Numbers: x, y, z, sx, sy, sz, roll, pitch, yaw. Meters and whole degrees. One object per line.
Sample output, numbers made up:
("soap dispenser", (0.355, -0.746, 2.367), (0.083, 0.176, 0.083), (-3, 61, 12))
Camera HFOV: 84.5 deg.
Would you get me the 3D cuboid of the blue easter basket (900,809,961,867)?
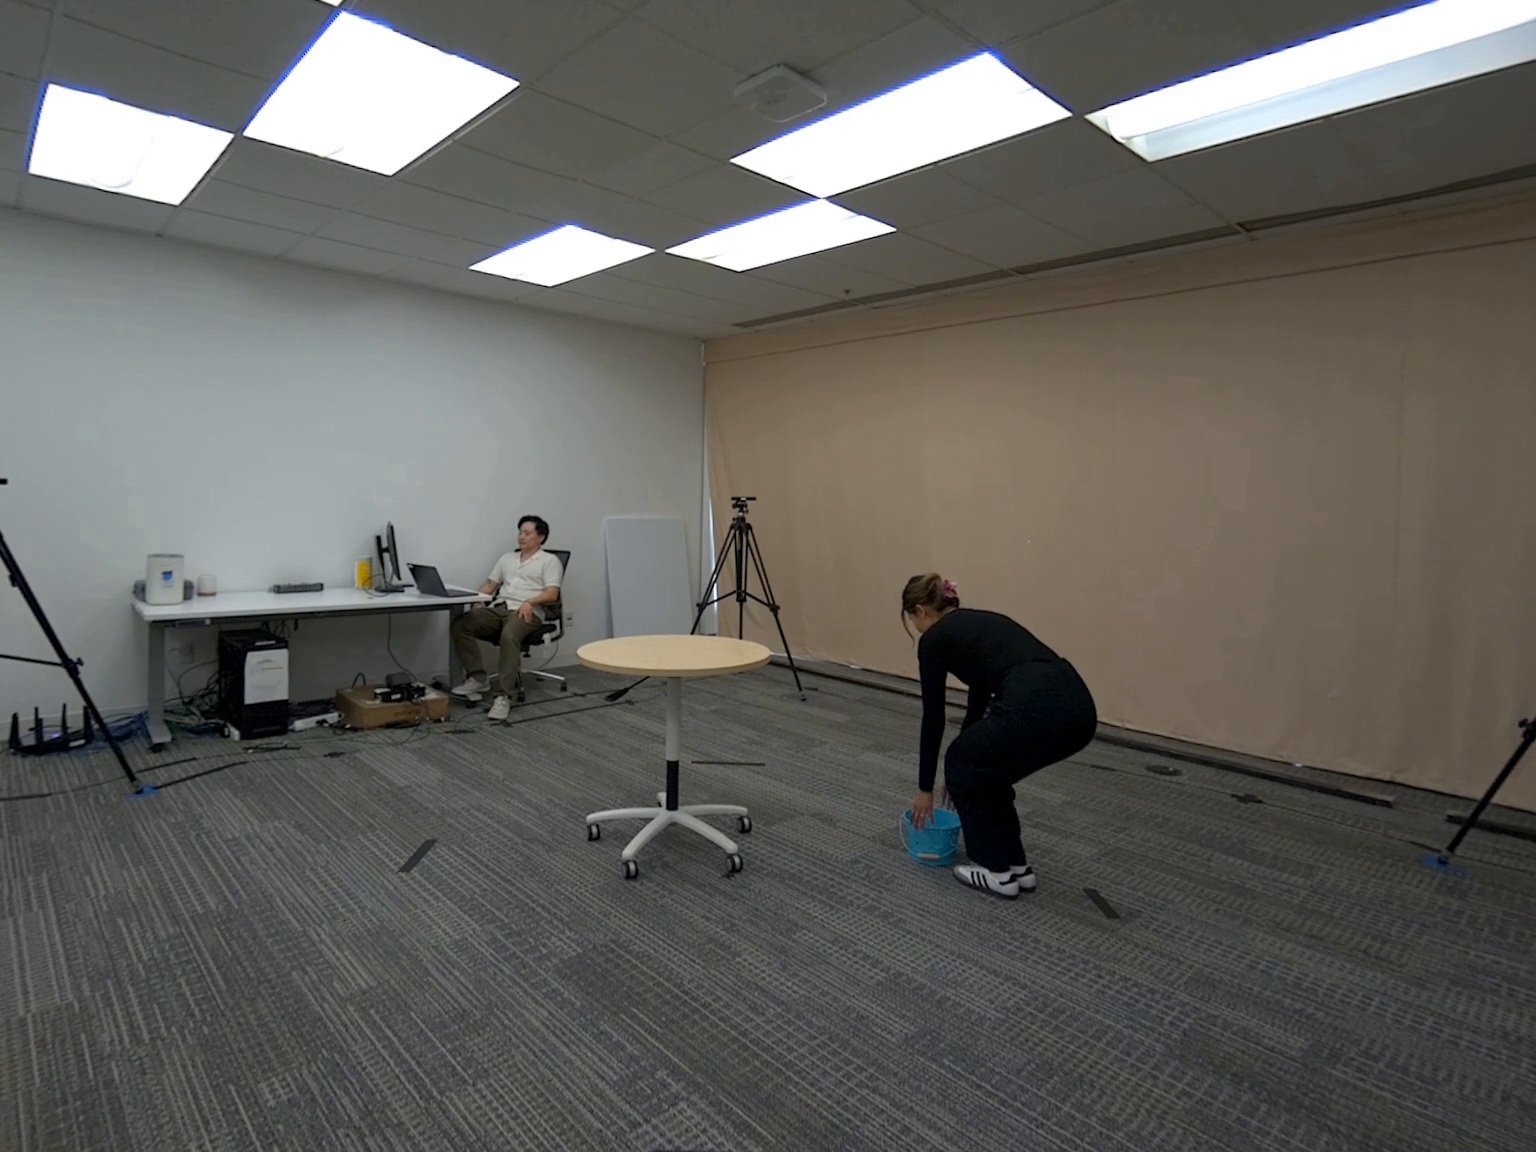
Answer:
("blue easter basket", (0.643, 1.031, 3.328), (0.243, 0.155, 0.244), (2, 4, -1))
